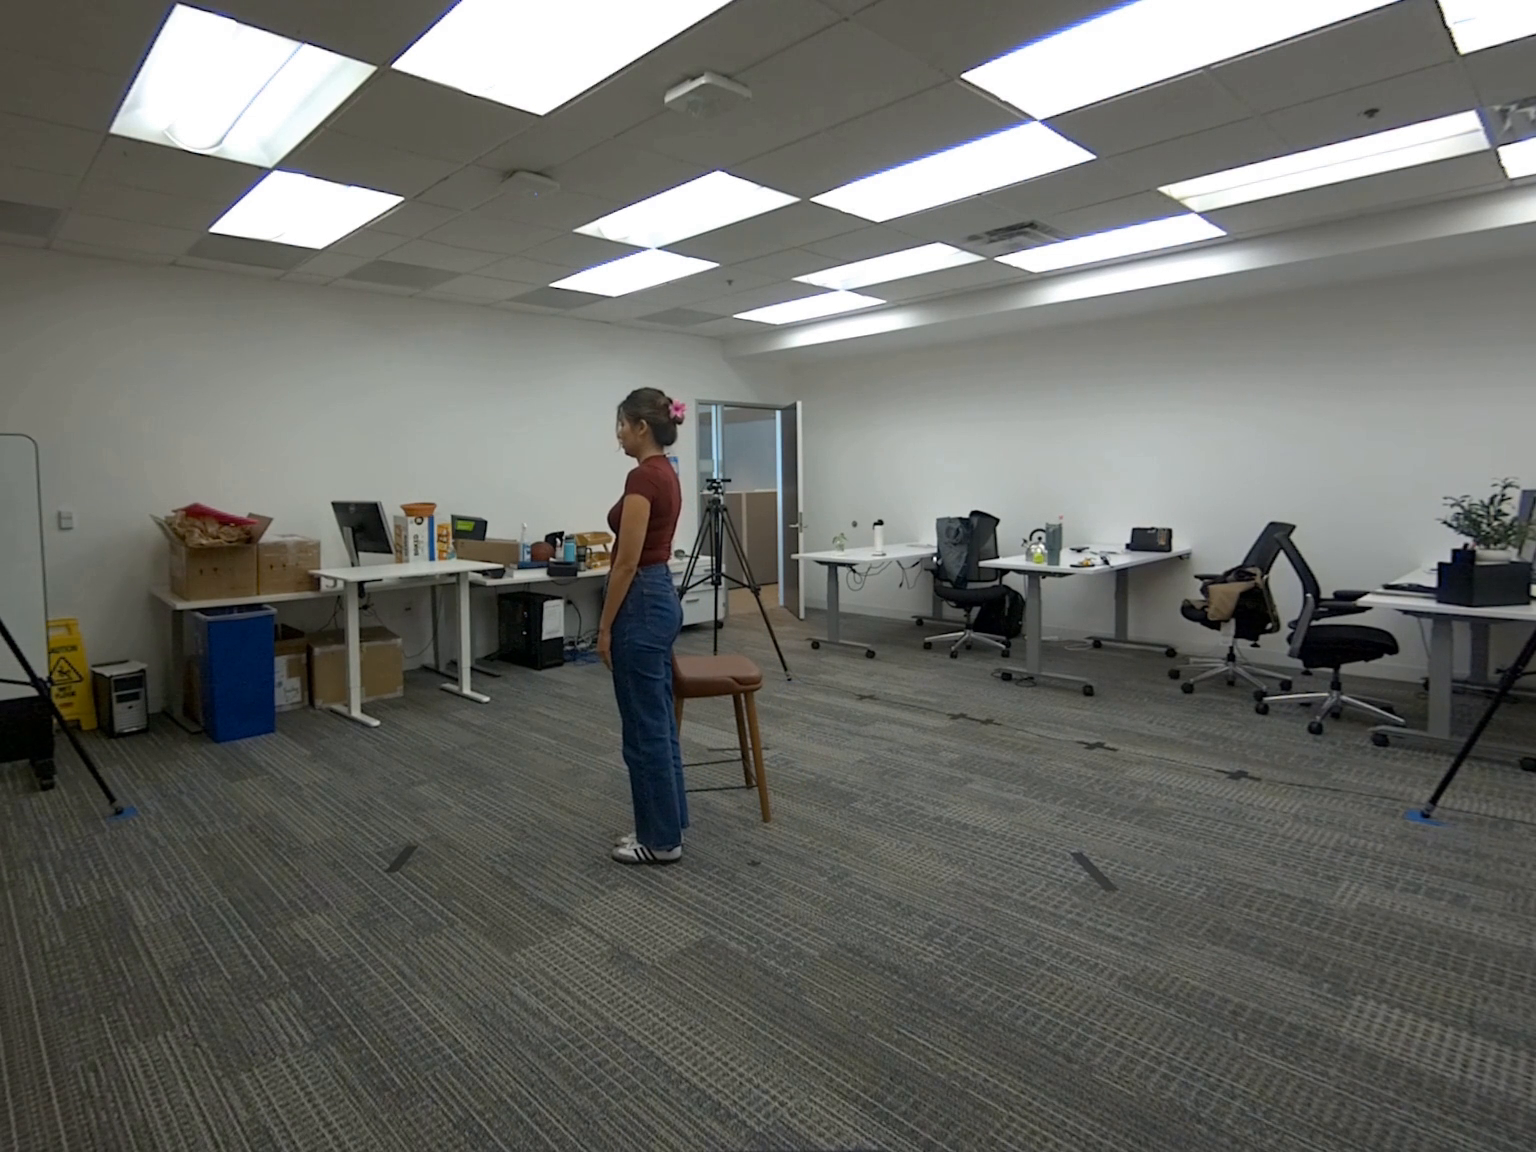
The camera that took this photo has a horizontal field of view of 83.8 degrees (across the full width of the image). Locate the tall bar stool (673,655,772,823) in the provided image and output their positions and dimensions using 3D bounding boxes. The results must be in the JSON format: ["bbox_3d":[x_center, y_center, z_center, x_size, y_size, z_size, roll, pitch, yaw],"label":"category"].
[{"bbox_3d":[-0.269,0.555,3.618,0.463,0.887,0.462,-4,4,-10],"label":"tall bar stool"}]
